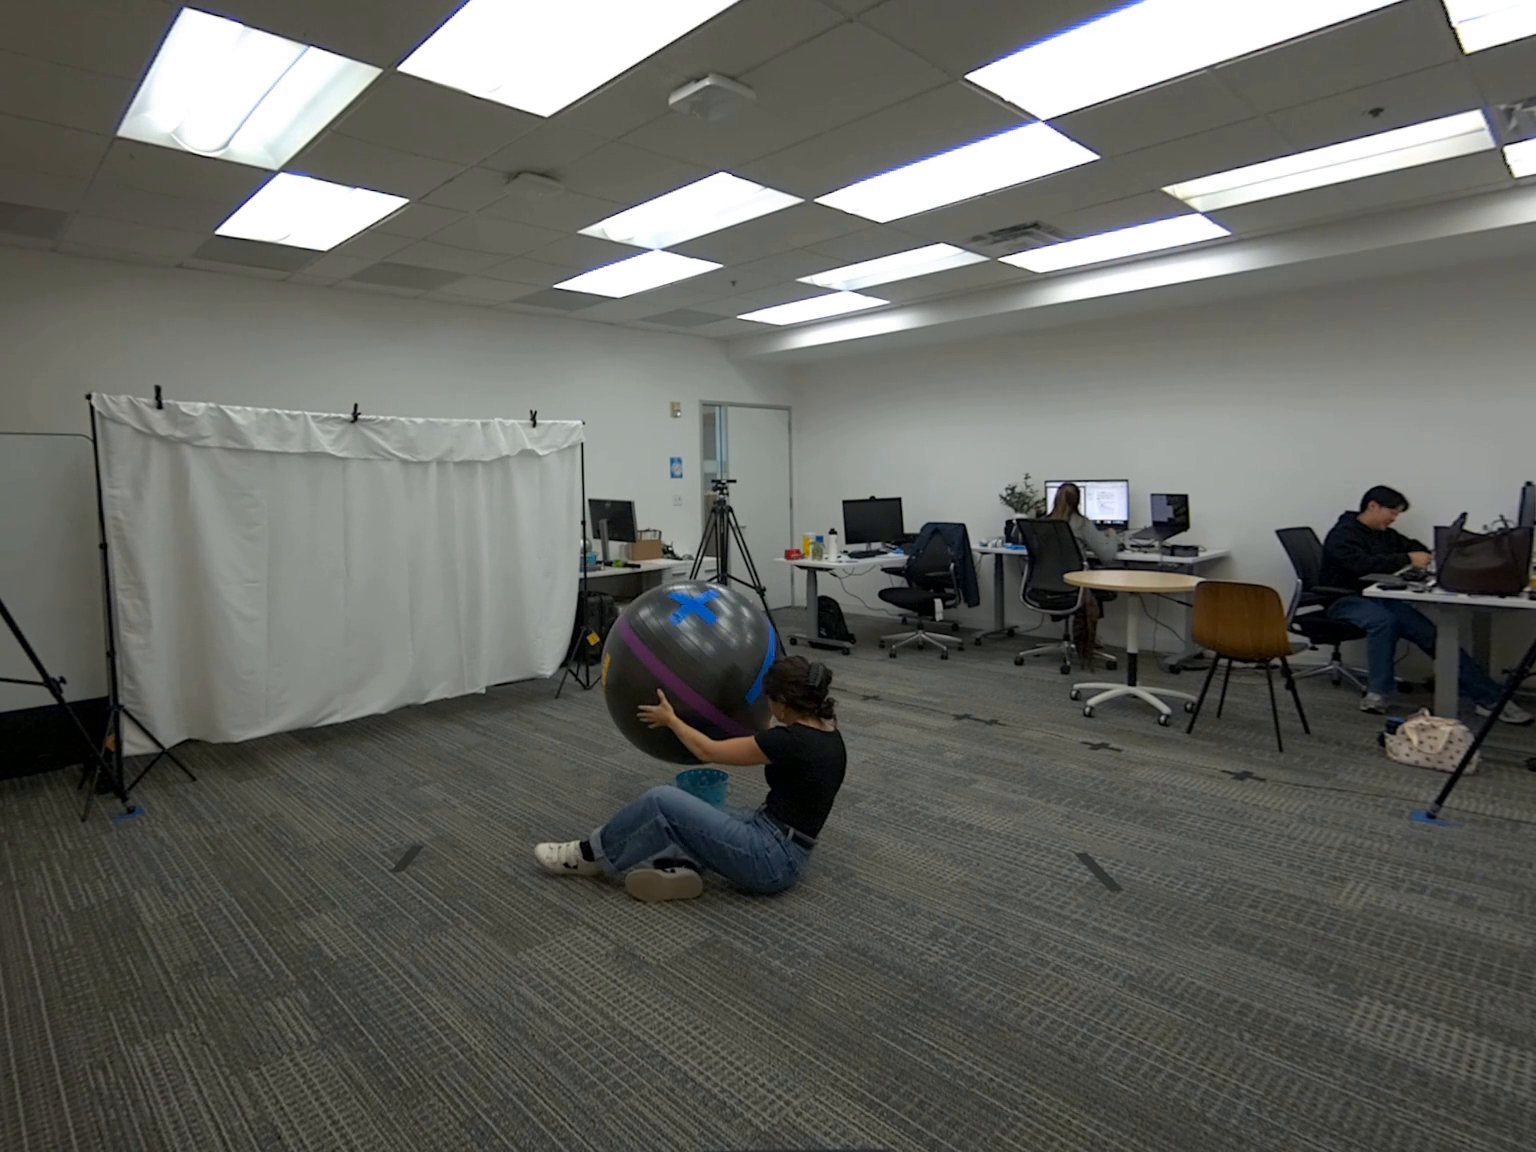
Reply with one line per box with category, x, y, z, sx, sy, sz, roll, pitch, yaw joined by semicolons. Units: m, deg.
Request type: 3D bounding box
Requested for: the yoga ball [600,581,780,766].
yoga ball;-0.321;0.394;3.560;0.757;0.755;0.762;-1;5;-2
